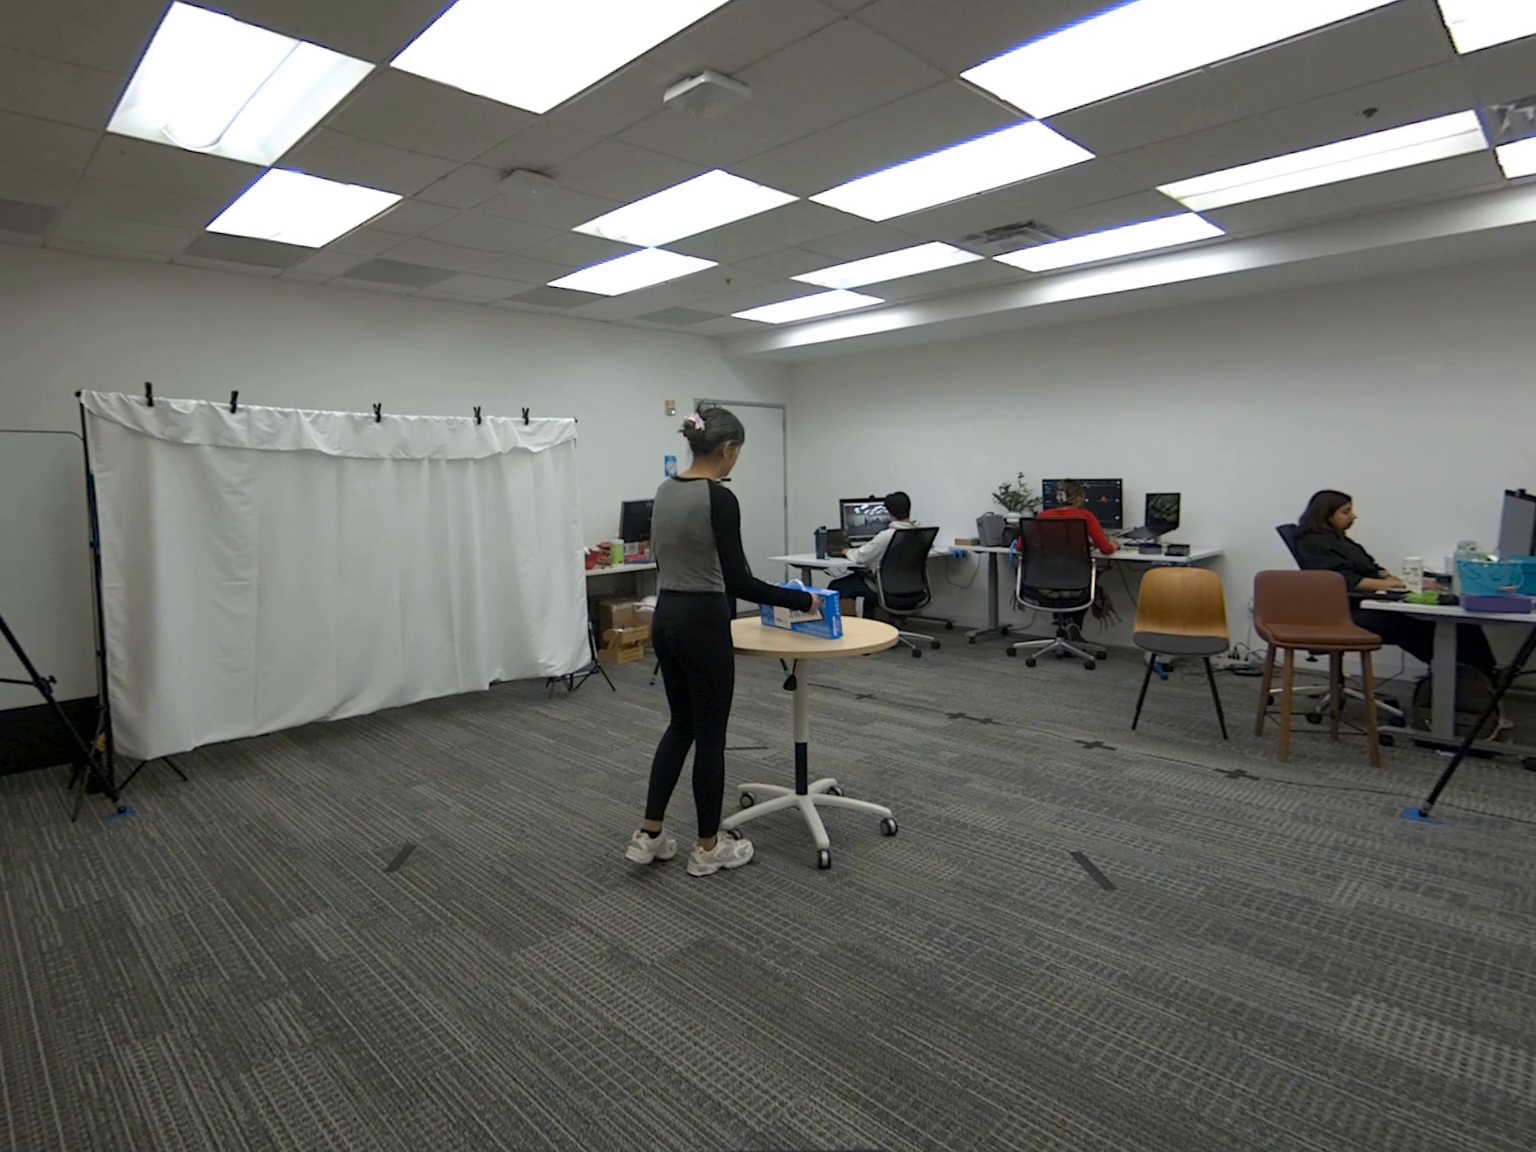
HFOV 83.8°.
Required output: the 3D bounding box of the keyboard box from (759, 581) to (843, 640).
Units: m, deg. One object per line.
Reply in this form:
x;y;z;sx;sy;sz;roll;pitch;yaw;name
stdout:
0.121;0.132;3.353;0.058;0.175;0.450;-11;10;-35;keyboard box
